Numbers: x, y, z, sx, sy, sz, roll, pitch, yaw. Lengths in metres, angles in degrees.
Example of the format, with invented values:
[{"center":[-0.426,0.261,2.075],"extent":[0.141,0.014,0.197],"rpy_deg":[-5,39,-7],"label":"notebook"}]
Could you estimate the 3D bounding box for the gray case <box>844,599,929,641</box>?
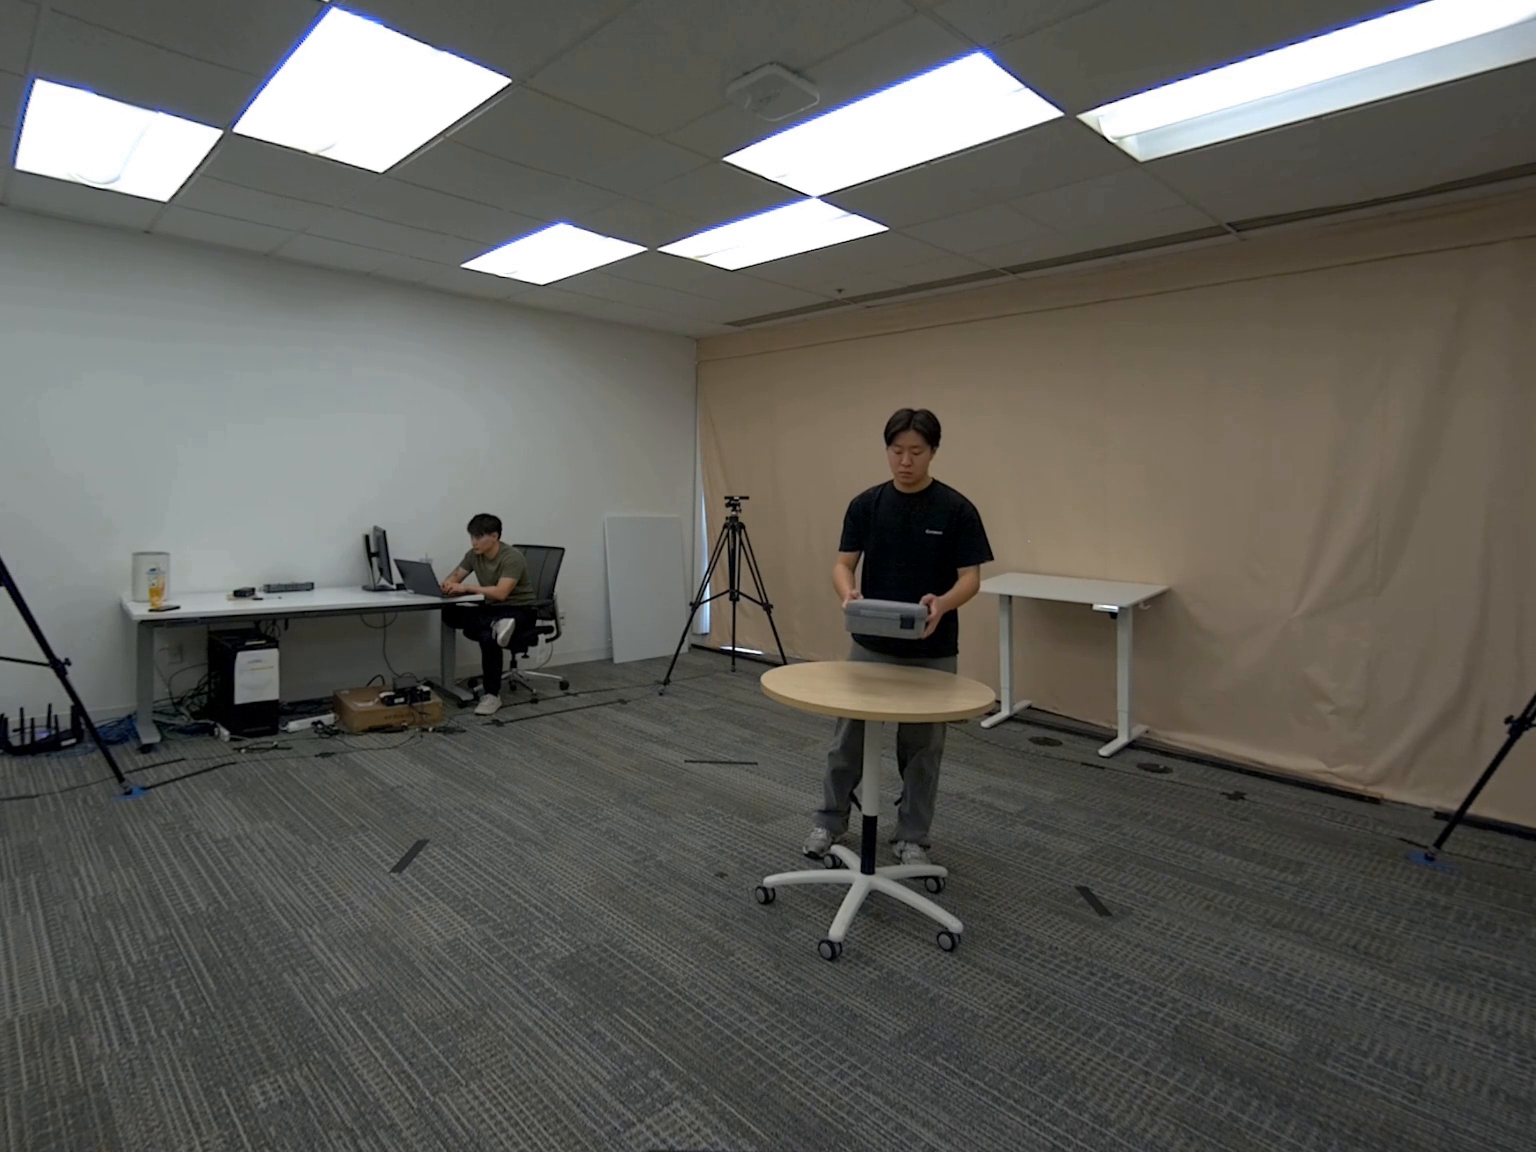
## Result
[{"center":[0.382,0.141,2.817],"extent":[0.267,0.103,0.283],"rpy_deg":[5,2,18],"label":"gray case"}]
